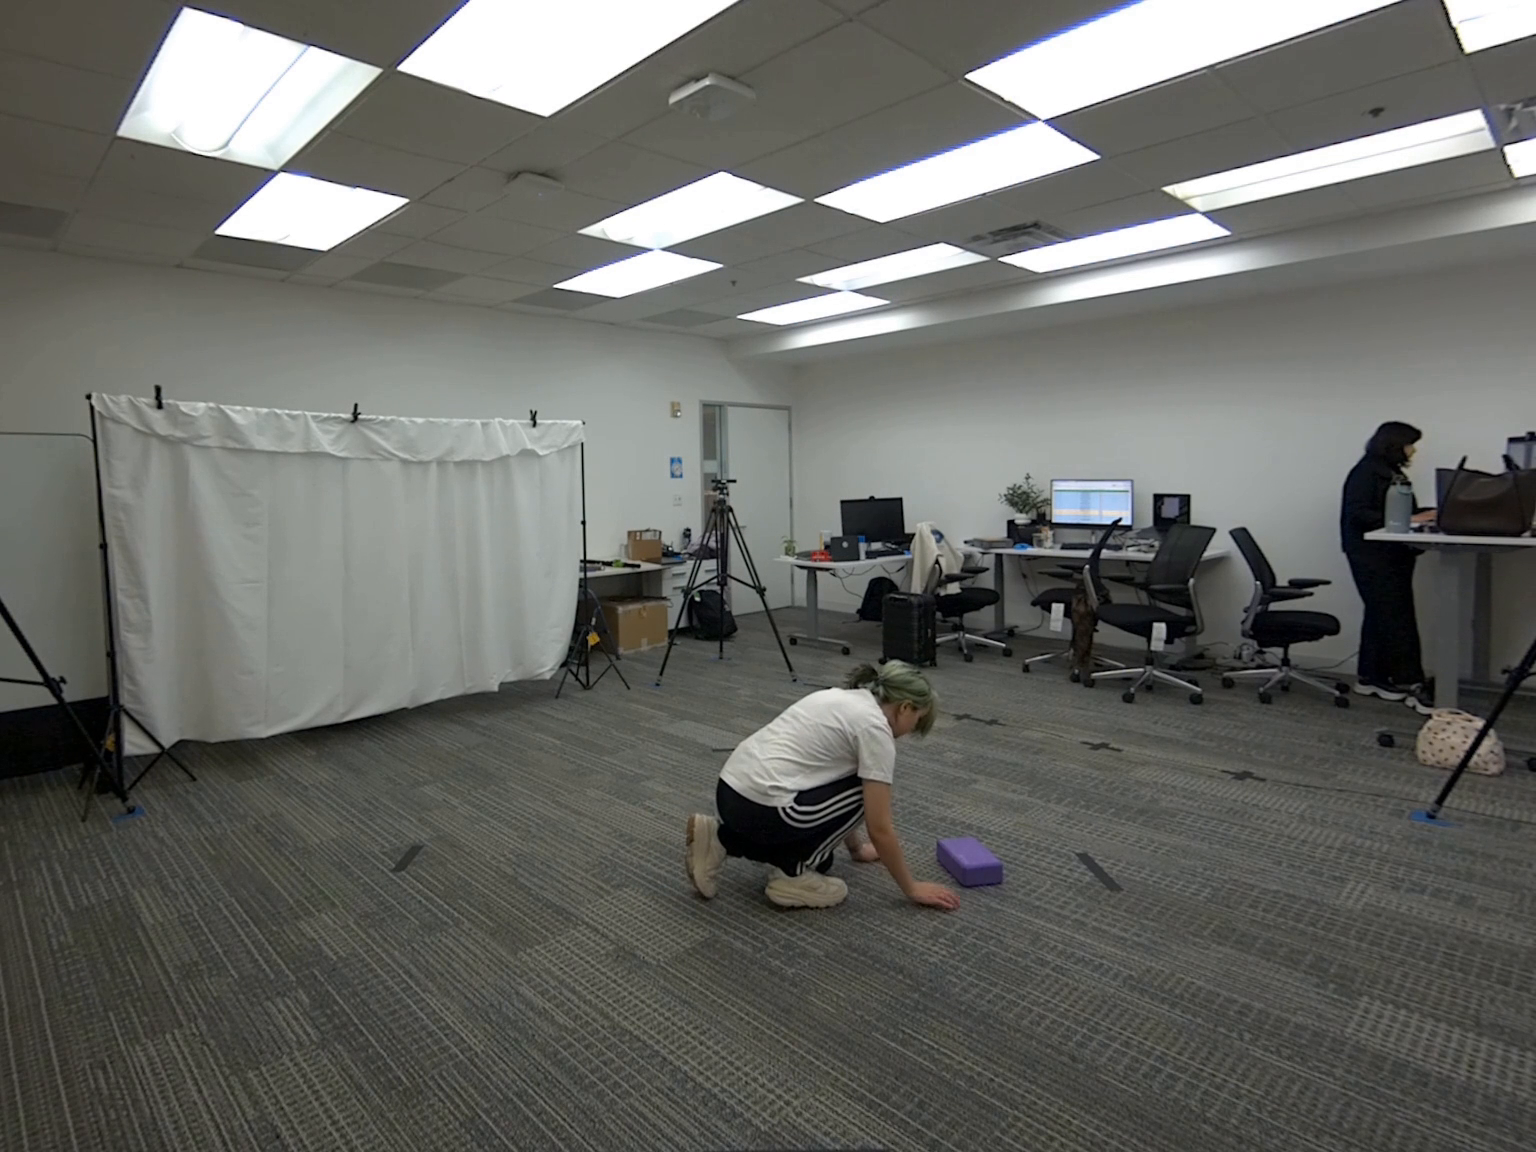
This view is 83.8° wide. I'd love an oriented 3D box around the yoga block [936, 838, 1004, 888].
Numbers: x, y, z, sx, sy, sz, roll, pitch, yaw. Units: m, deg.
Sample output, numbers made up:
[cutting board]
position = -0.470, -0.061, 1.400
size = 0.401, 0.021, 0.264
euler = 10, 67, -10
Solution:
[yoga block]
position = 0.705, 0.998, 3.006
size = 0.147, 0.076, 0.233
euler = -2, 6, -12
